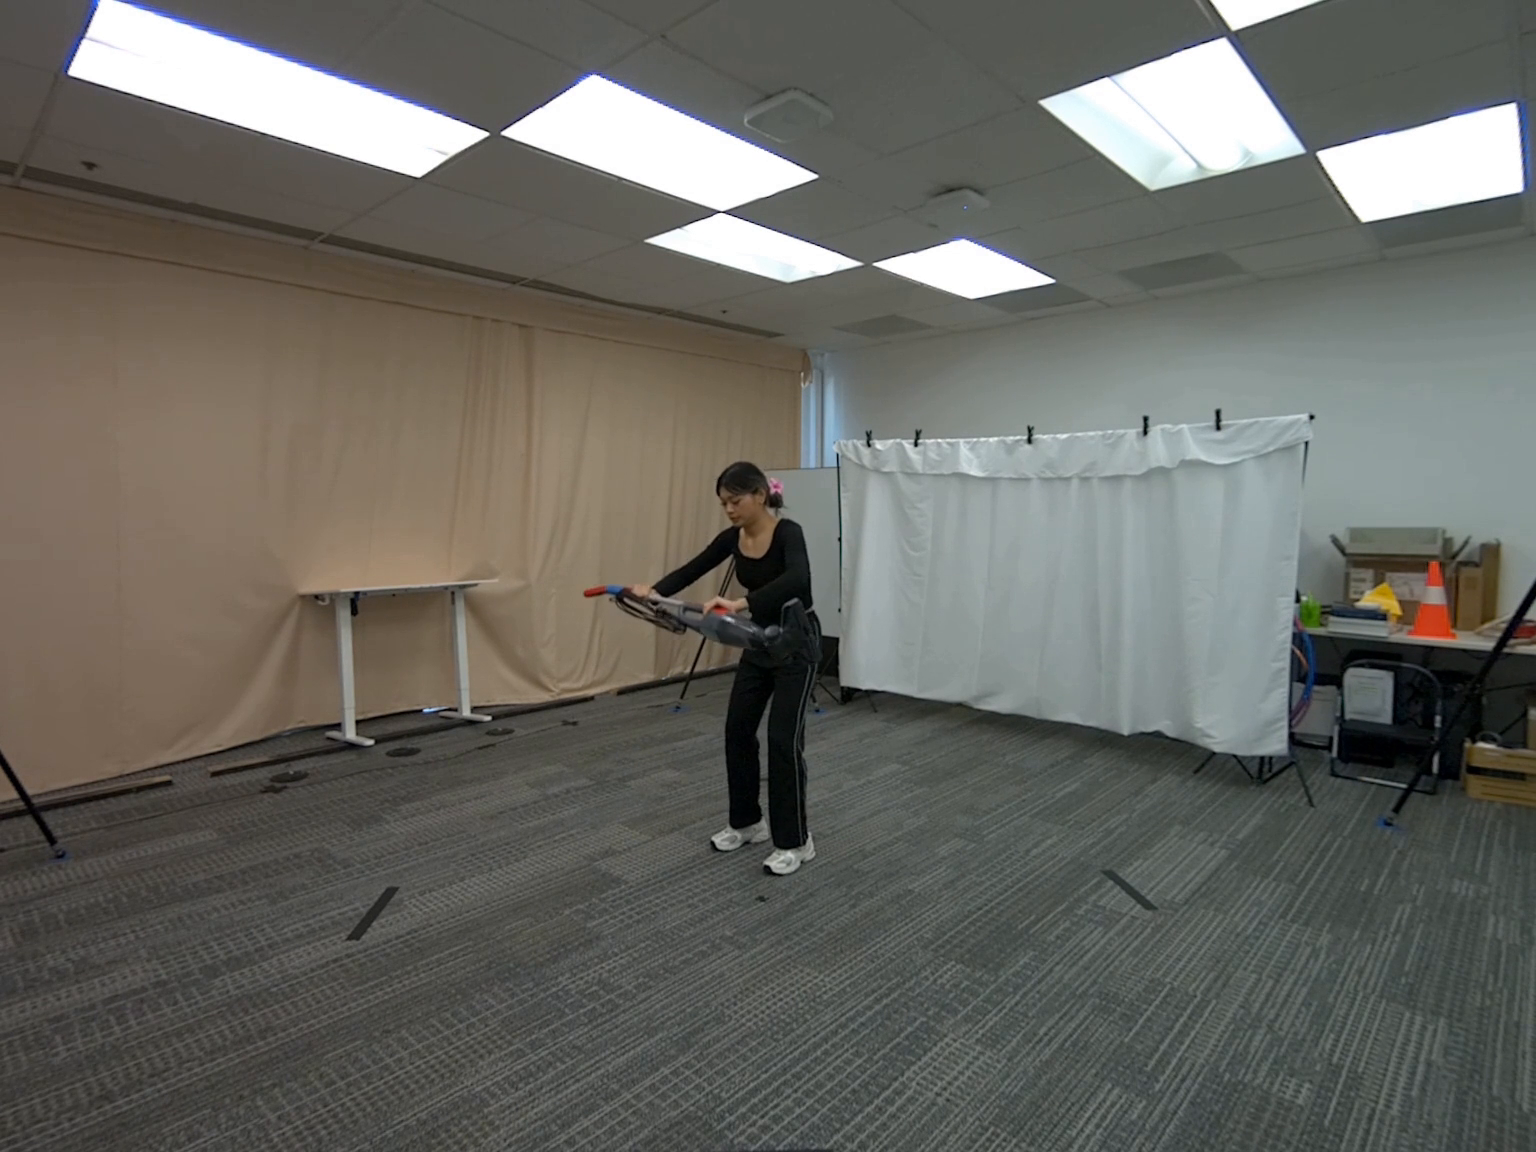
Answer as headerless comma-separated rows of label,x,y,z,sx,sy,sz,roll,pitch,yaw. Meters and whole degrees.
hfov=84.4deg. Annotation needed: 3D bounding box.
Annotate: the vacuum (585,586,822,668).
vacuum,-0.311,0.135,3.009,1.086,0.246,0.143,9,42,42
